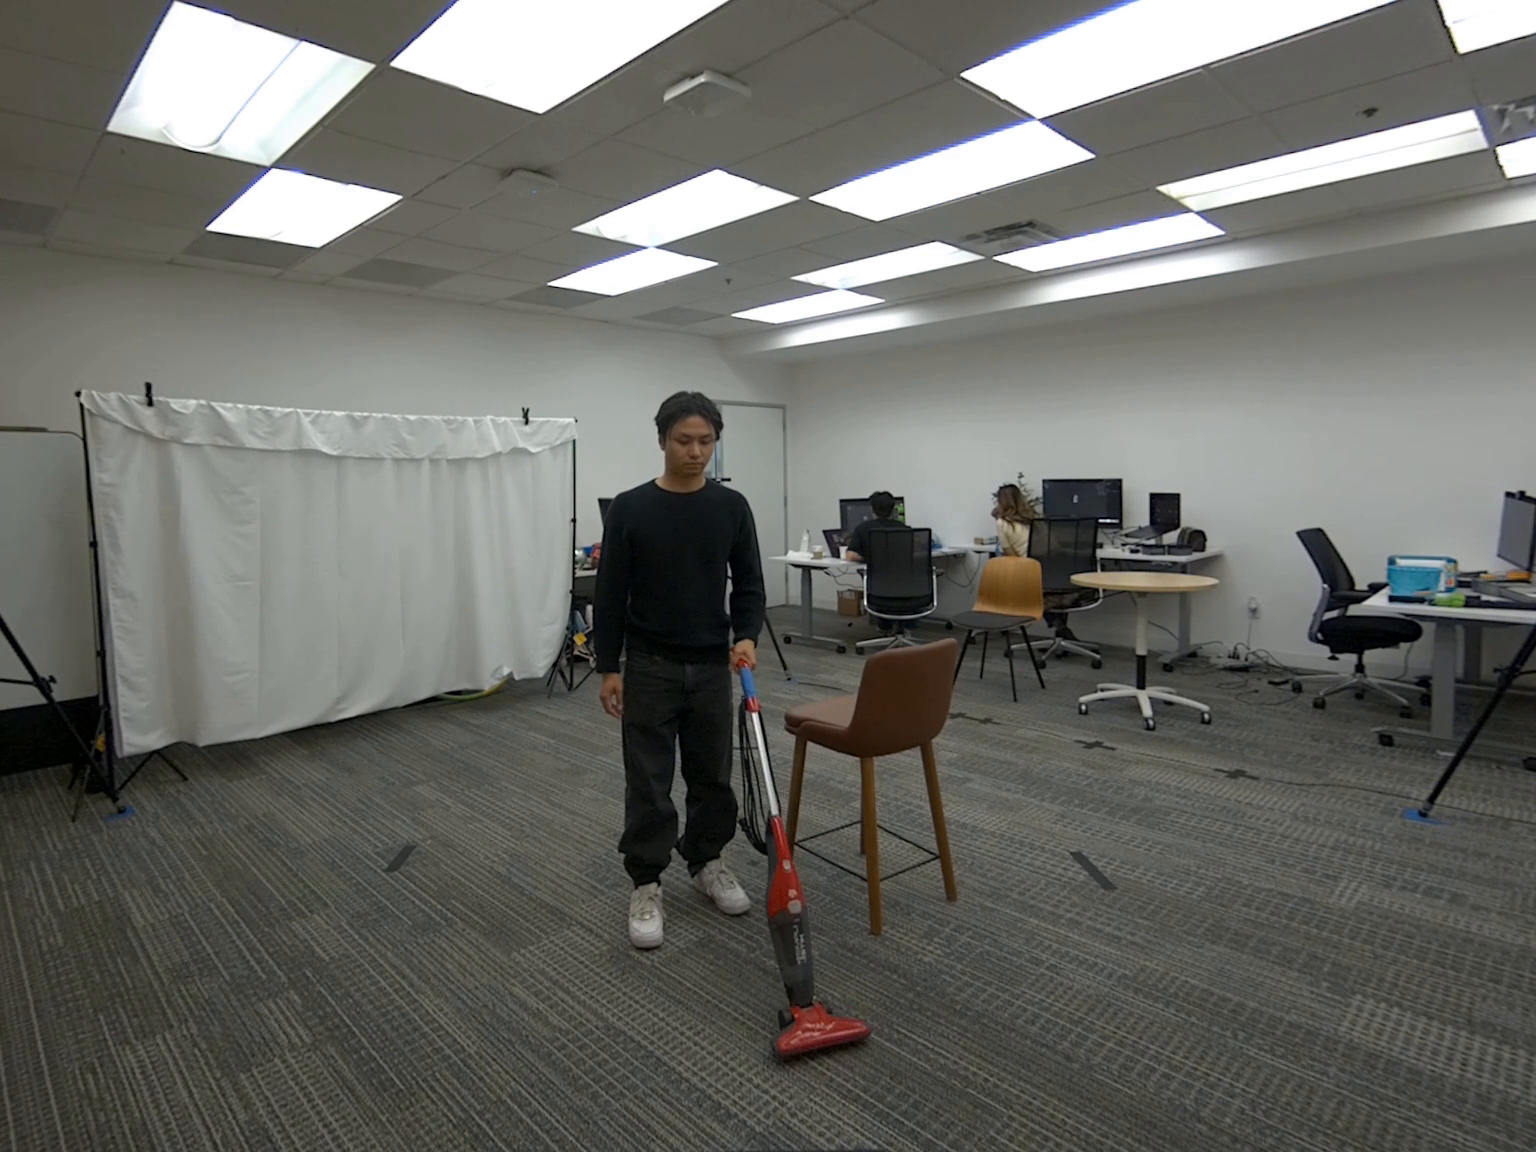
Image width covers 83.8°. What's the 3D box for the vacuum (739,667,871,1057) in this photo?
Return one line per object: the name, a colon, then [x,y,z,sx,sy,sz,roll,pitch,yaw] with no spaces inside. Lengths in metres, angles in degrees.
vacuum: [0.008,0.693,2.380,0.247,1.080,0.143,0,-32,-22]
